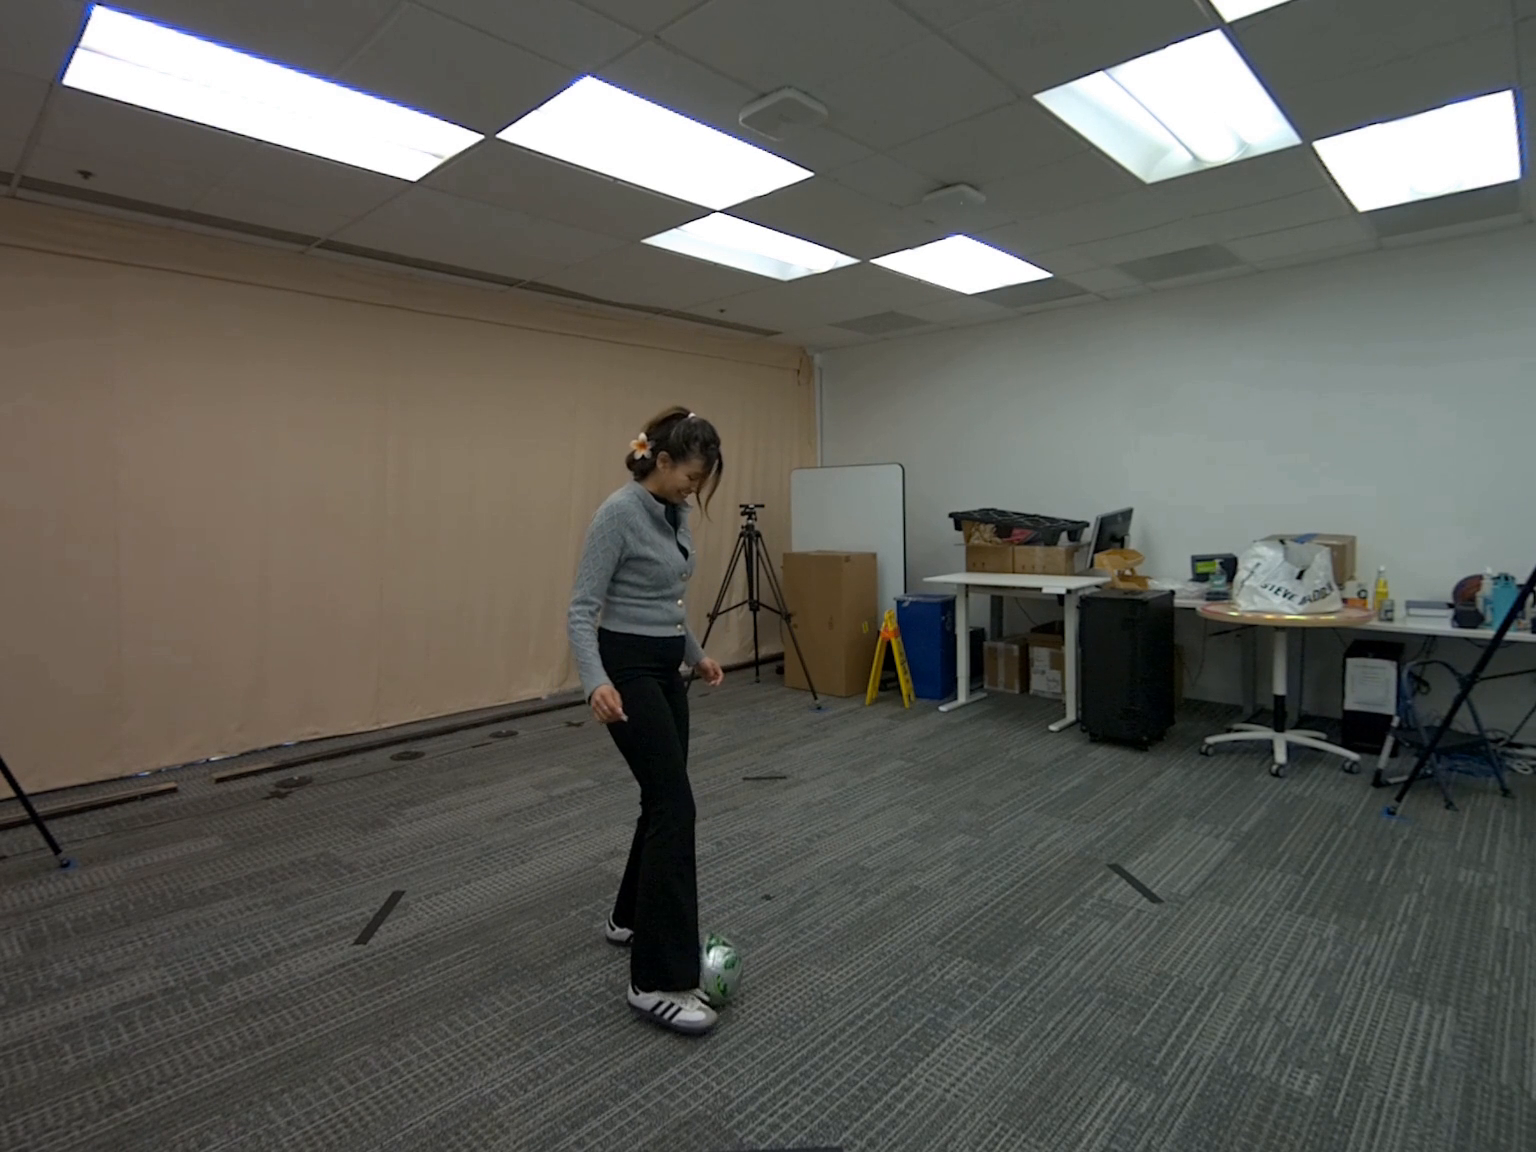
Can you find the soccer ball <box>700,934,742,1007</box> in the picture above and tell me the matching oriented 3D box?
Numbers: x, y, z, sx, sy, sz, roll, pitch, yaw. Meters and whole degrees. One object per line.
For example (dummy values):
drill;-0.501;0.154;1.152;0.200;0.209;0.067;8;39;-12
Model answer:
soccer ball;-0.160;1.103;2.360;0.187;0.187;0.188;-1;4;-2
